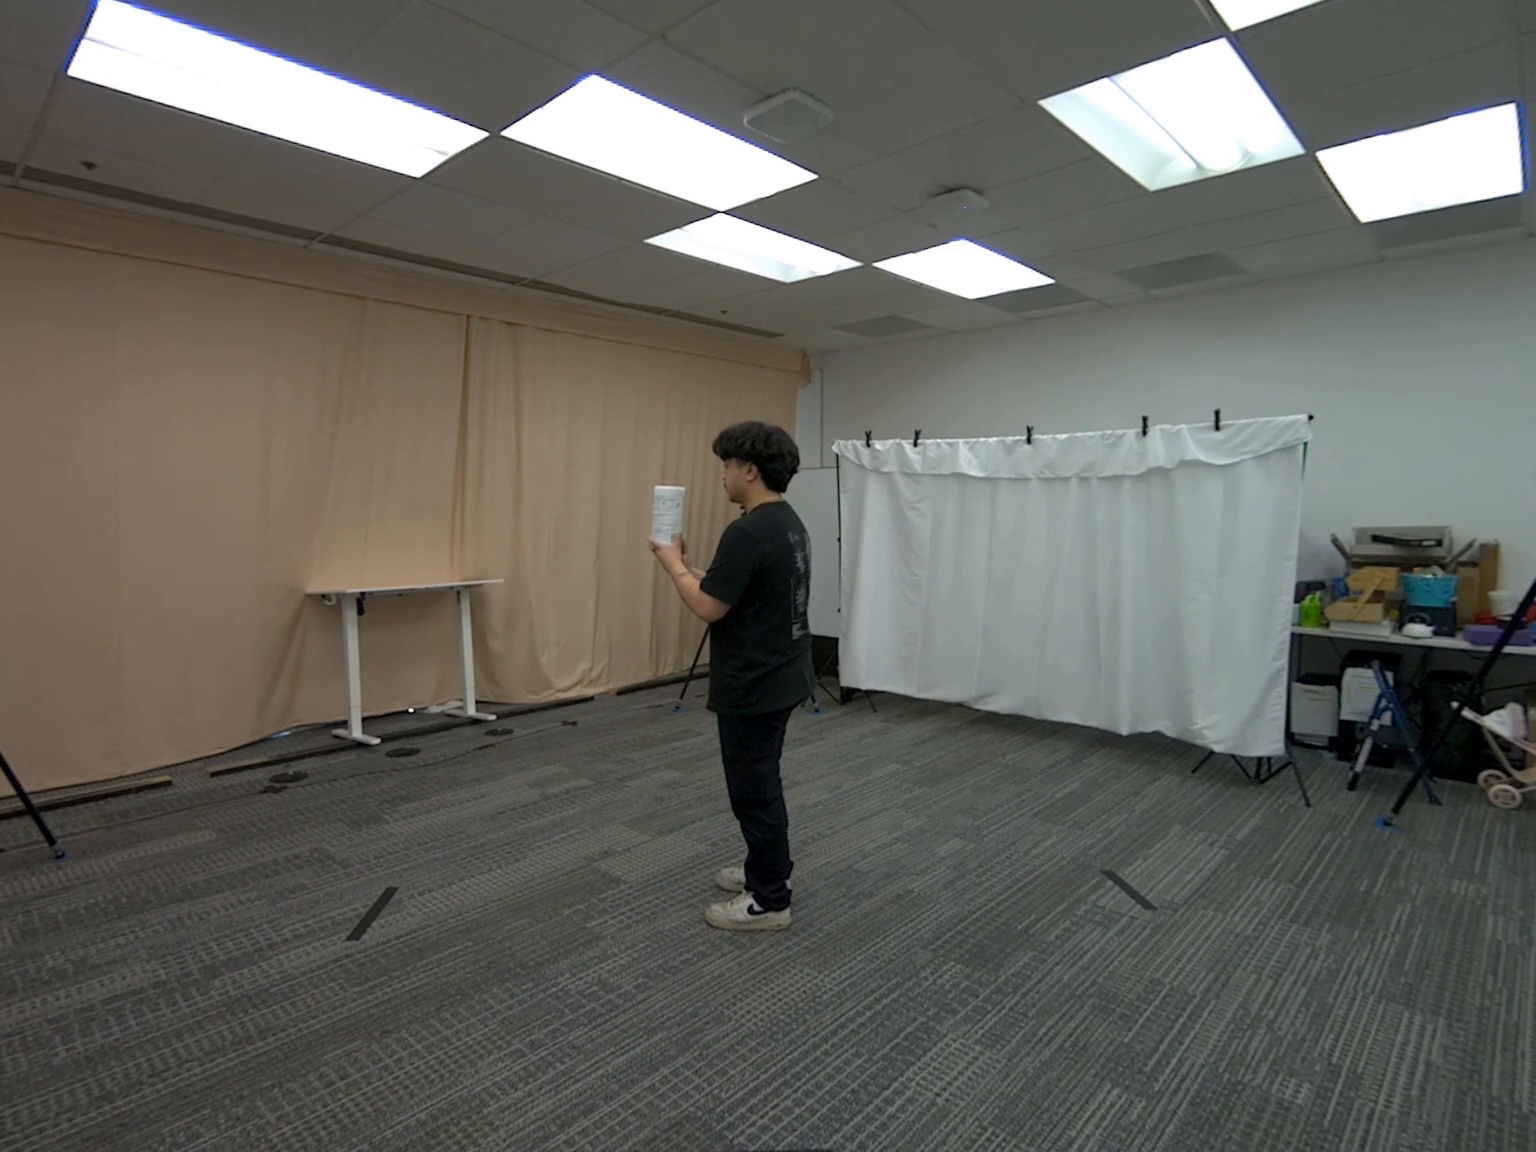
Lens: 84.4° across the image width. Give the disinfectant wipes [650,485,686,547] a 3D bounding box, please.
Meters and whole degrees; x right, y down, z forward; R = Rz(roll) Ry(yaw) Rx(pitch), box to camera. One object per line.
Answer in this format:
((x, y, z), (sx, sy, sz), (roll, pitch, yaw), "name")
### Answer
((-0.337, -0.197, 2.904), (0.117, 0.217, 0.118), (2, 6, -2), "disinfectant wipes")
